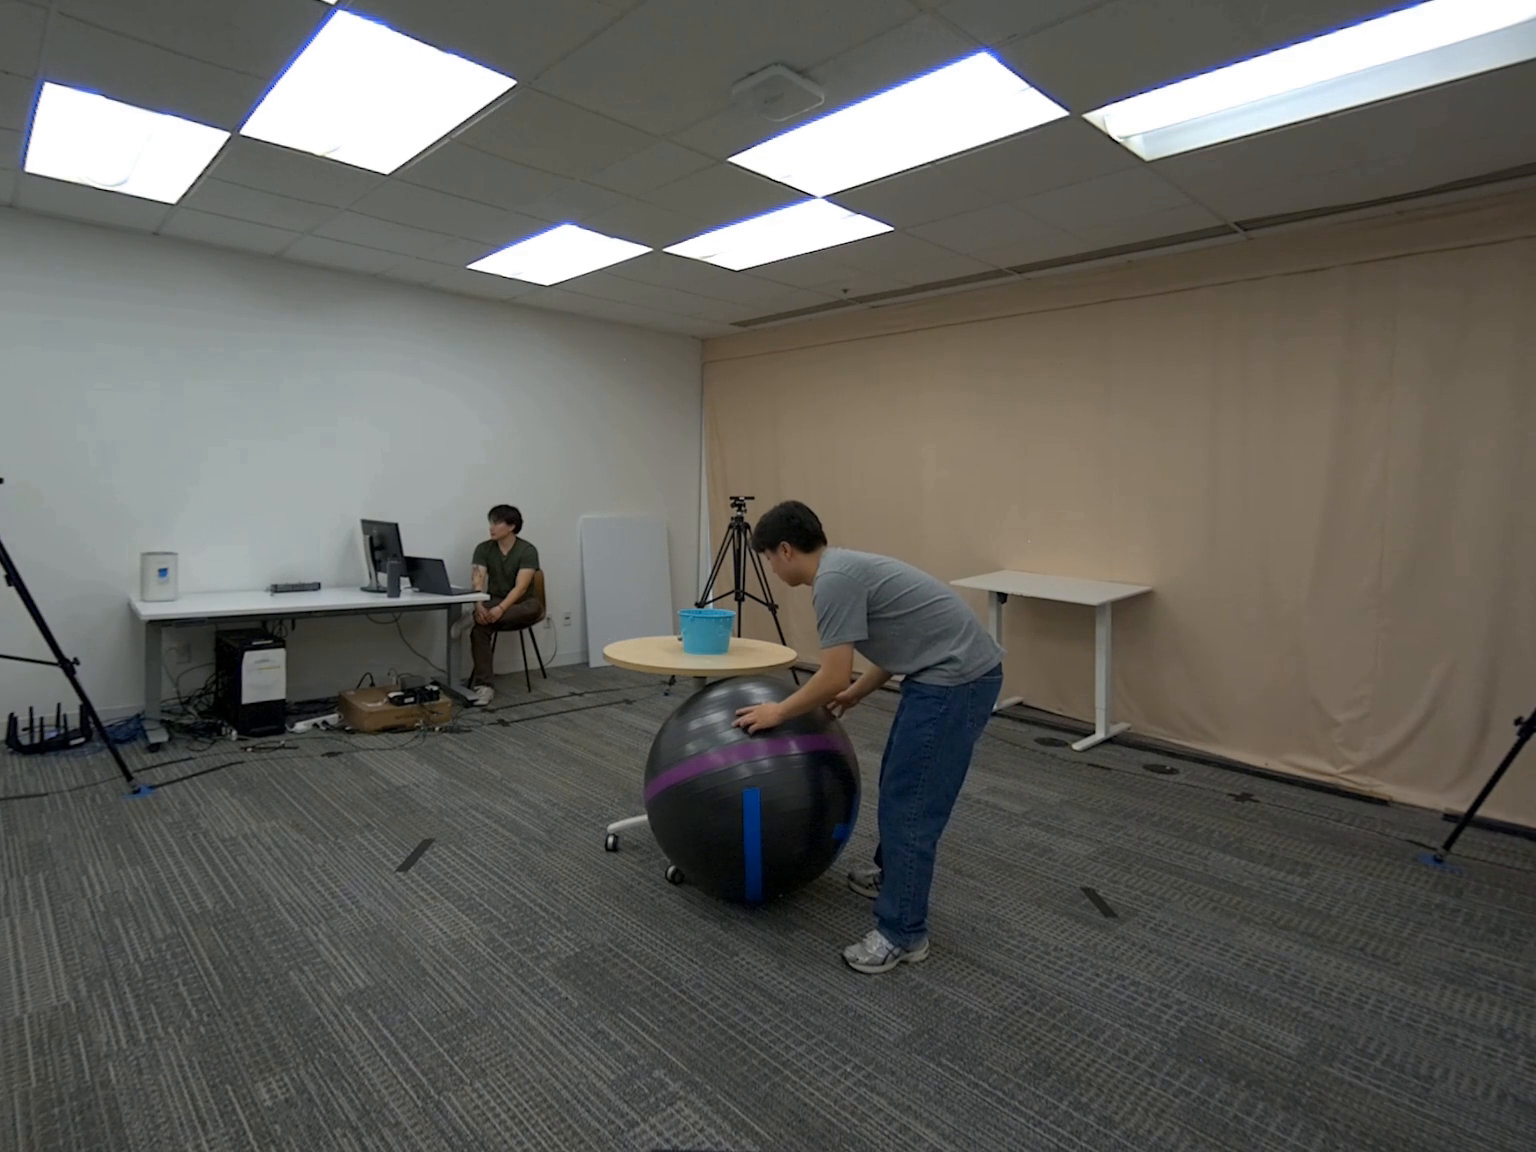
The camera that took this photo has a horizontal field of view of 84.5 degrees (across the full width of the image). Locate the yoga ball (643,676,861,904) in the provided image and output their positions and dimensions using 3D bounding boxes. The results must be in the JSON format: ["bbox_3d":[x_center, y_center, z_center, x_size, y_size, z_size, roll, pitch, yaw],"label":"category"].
[{"bbox_3d":[-0.058,0.748,2.952,0.757,0.756,0.761,1,4,-1],"label":"yoga ball"}]
